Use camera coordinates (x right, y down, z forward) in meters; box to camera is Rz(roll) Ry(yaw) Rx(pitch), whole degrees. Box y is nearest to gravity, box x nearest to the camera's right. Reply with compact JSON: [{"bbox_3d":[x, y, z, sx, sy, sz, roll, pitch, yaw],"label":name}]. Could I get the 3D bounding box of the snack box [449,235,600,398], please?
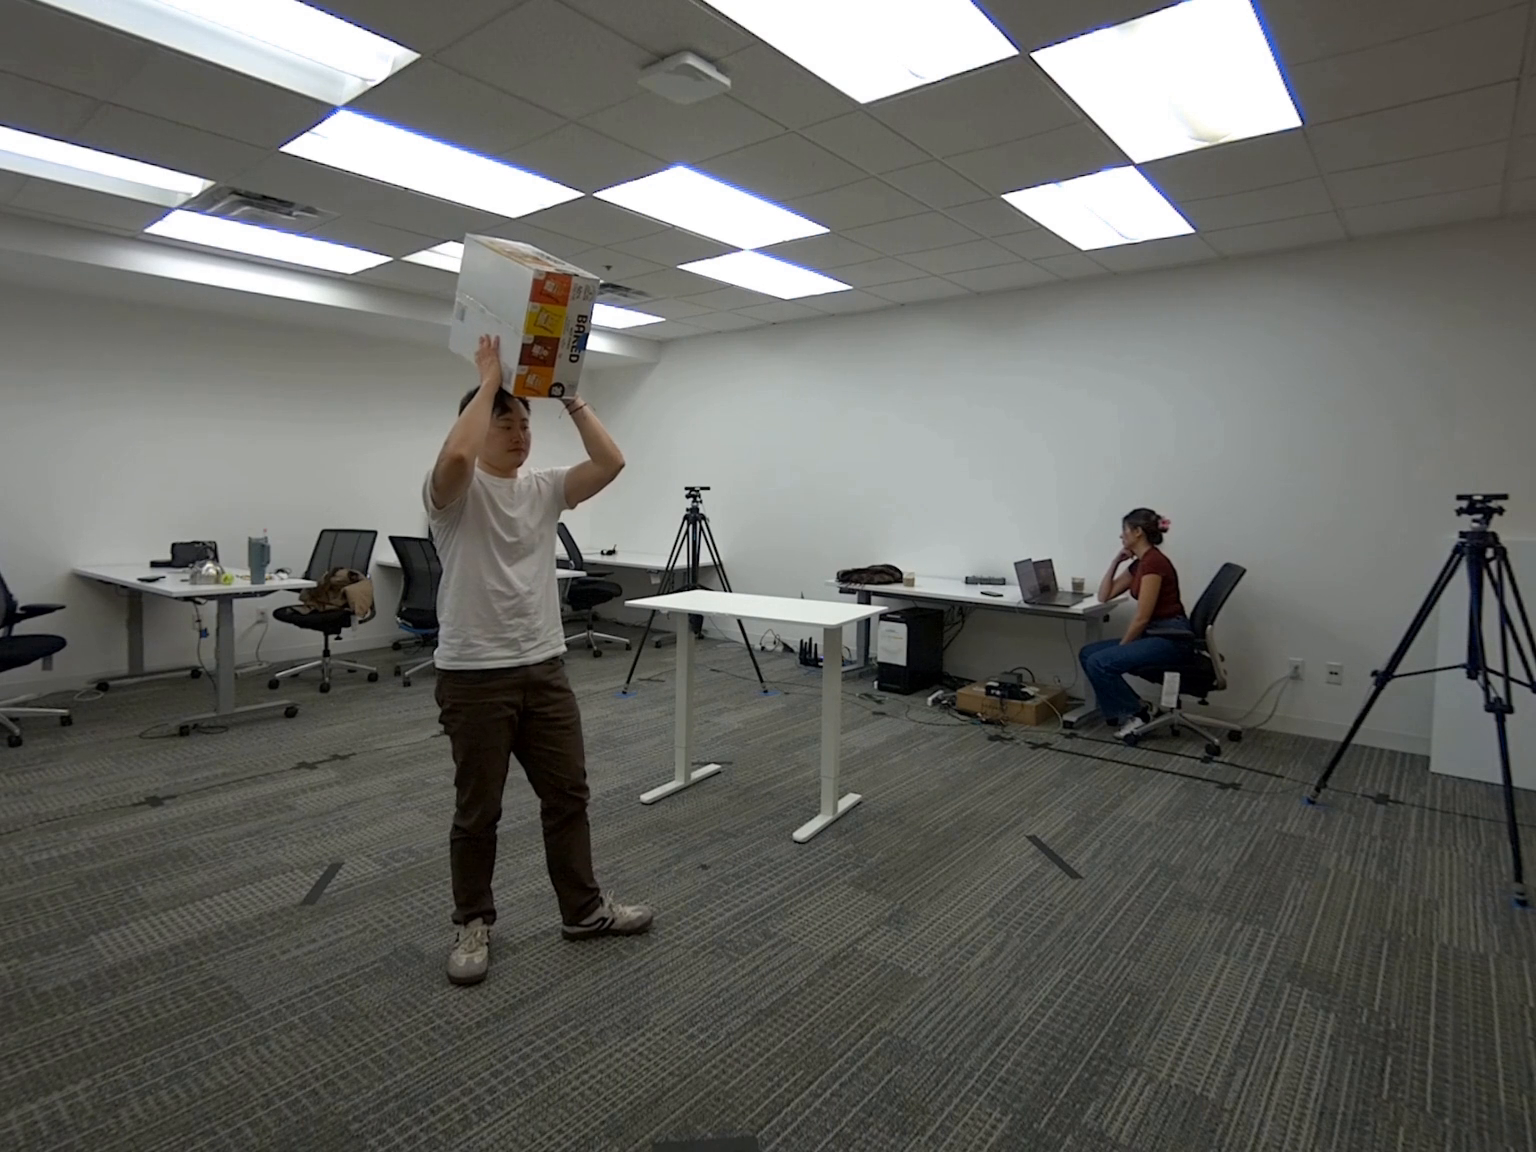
[{"bbox_3d":[-0.705,-0.734,2.392,0.200,0.336,0.422,-5,31,-45],"label":"snack box"}]
